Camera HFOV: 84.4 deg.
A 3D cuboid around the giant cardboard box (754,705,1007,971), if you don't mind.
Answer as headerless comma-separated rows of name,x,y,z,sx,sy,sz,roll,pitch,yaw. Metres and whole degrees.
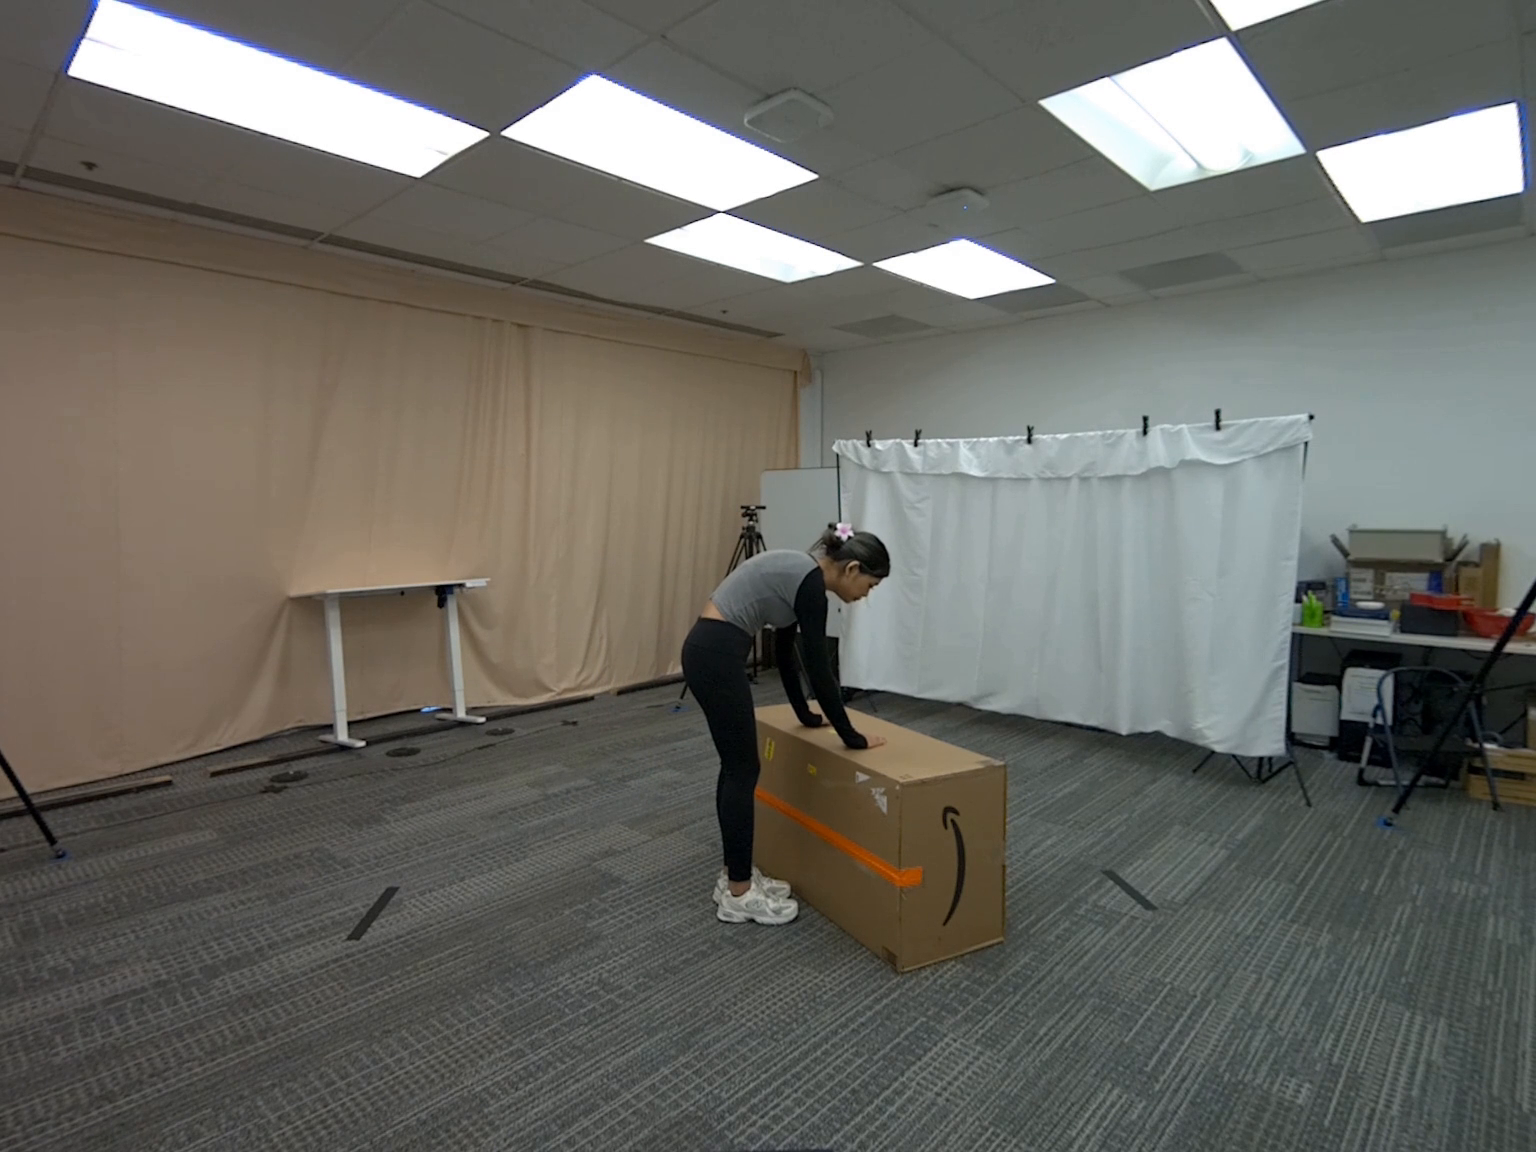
giant cardboard box,0.320,0.850,3.033,0.415,0.576,1.055,-2,4,-29
